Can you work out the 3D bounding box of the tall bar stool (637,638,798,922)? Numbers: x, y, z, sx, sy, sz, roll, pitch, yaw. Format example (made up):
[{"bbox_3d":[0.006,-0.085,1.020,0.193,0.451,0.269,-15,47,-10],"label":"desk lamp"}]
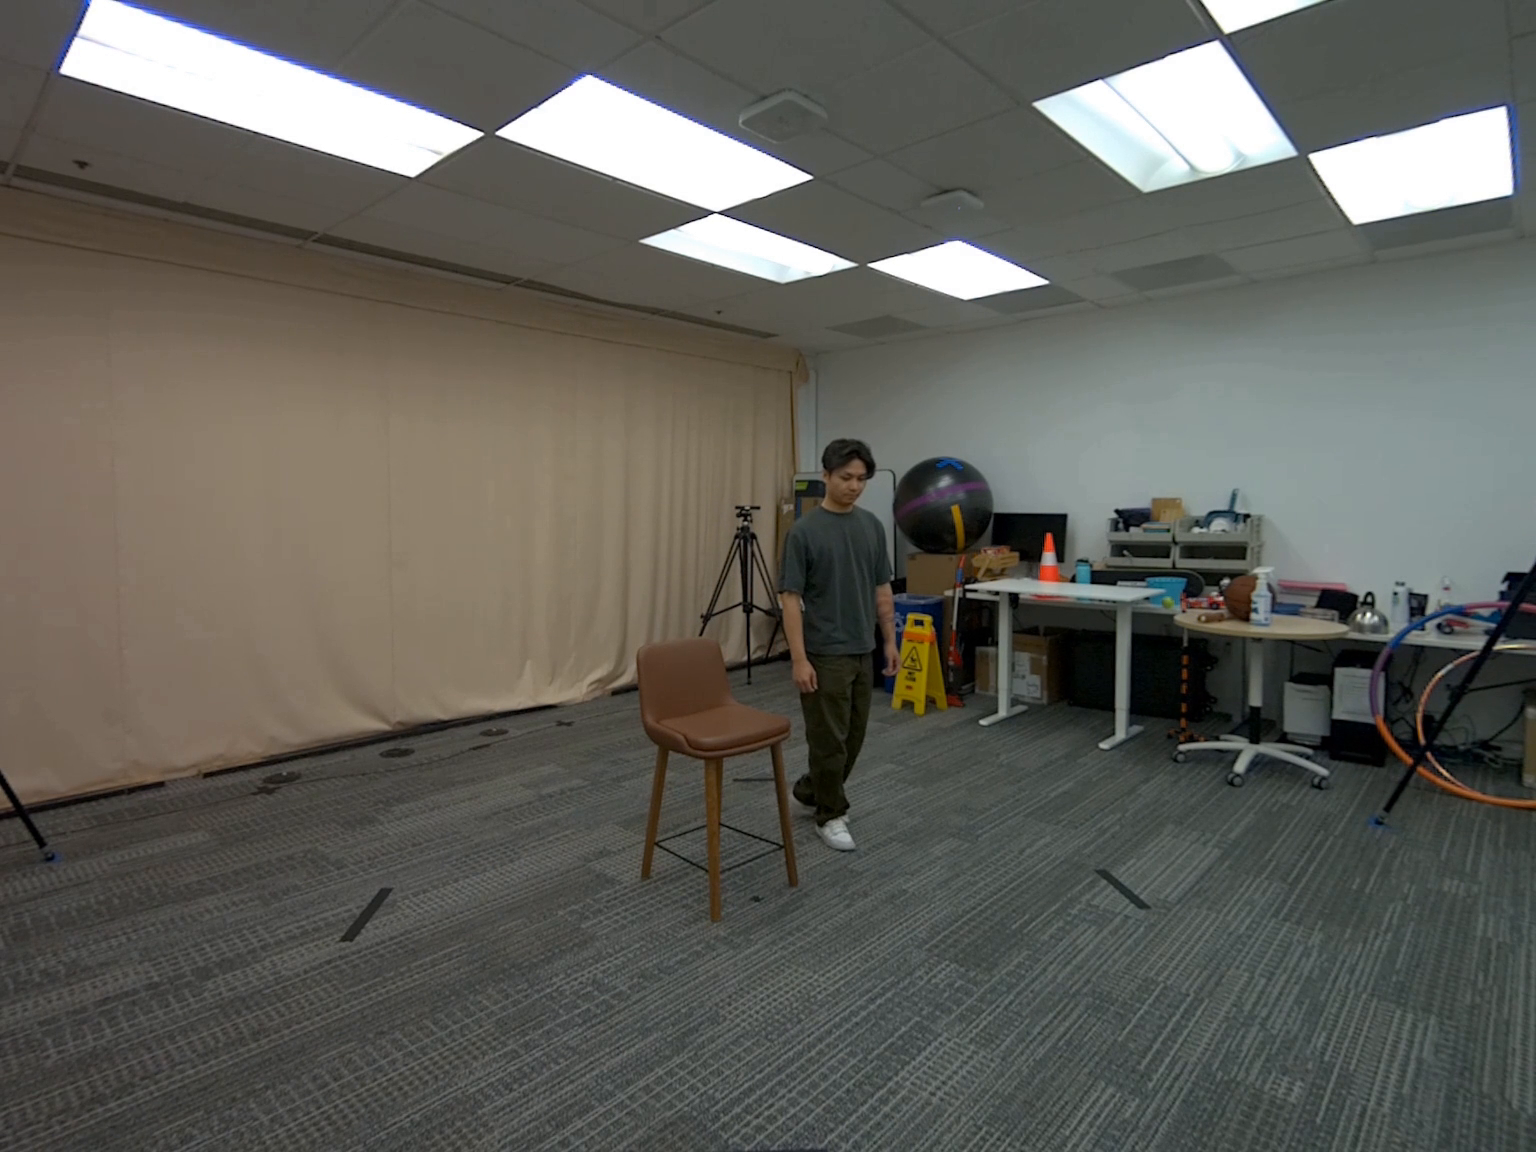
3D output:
[{"bbox_3d":[-0.195,0.701,3.095,0.442,0.889,0.483,-4,3,-43],"label":"tall bar stool"}]
